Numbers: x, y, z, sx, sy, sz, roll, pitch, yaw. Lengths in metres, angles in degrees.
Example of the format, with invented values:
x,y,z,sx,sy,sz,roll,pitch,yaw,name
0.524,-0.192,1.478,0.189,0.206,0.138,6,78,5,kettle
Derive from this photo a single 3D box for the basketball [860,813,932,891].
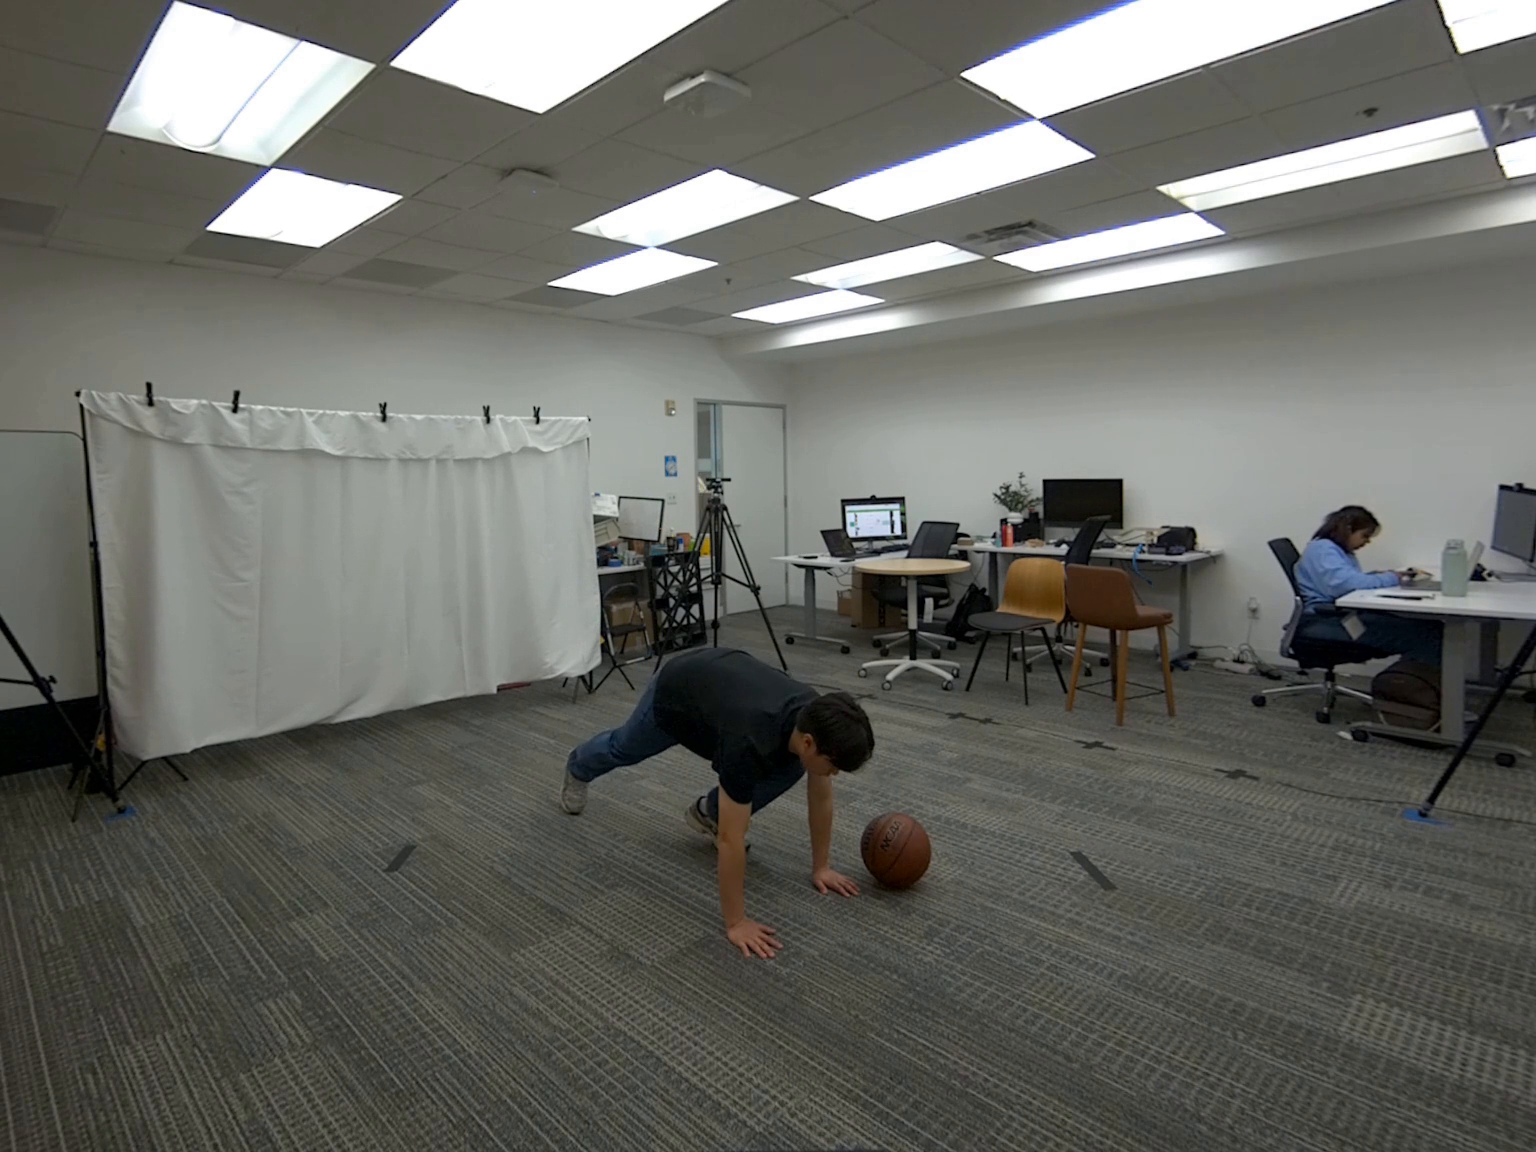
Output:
x,y,z,sx,sy,sz,roll,pitch,yaw,name
0.442,0.931,2.922,0.236,0.235,0.237,-1,5,-2,basketball
